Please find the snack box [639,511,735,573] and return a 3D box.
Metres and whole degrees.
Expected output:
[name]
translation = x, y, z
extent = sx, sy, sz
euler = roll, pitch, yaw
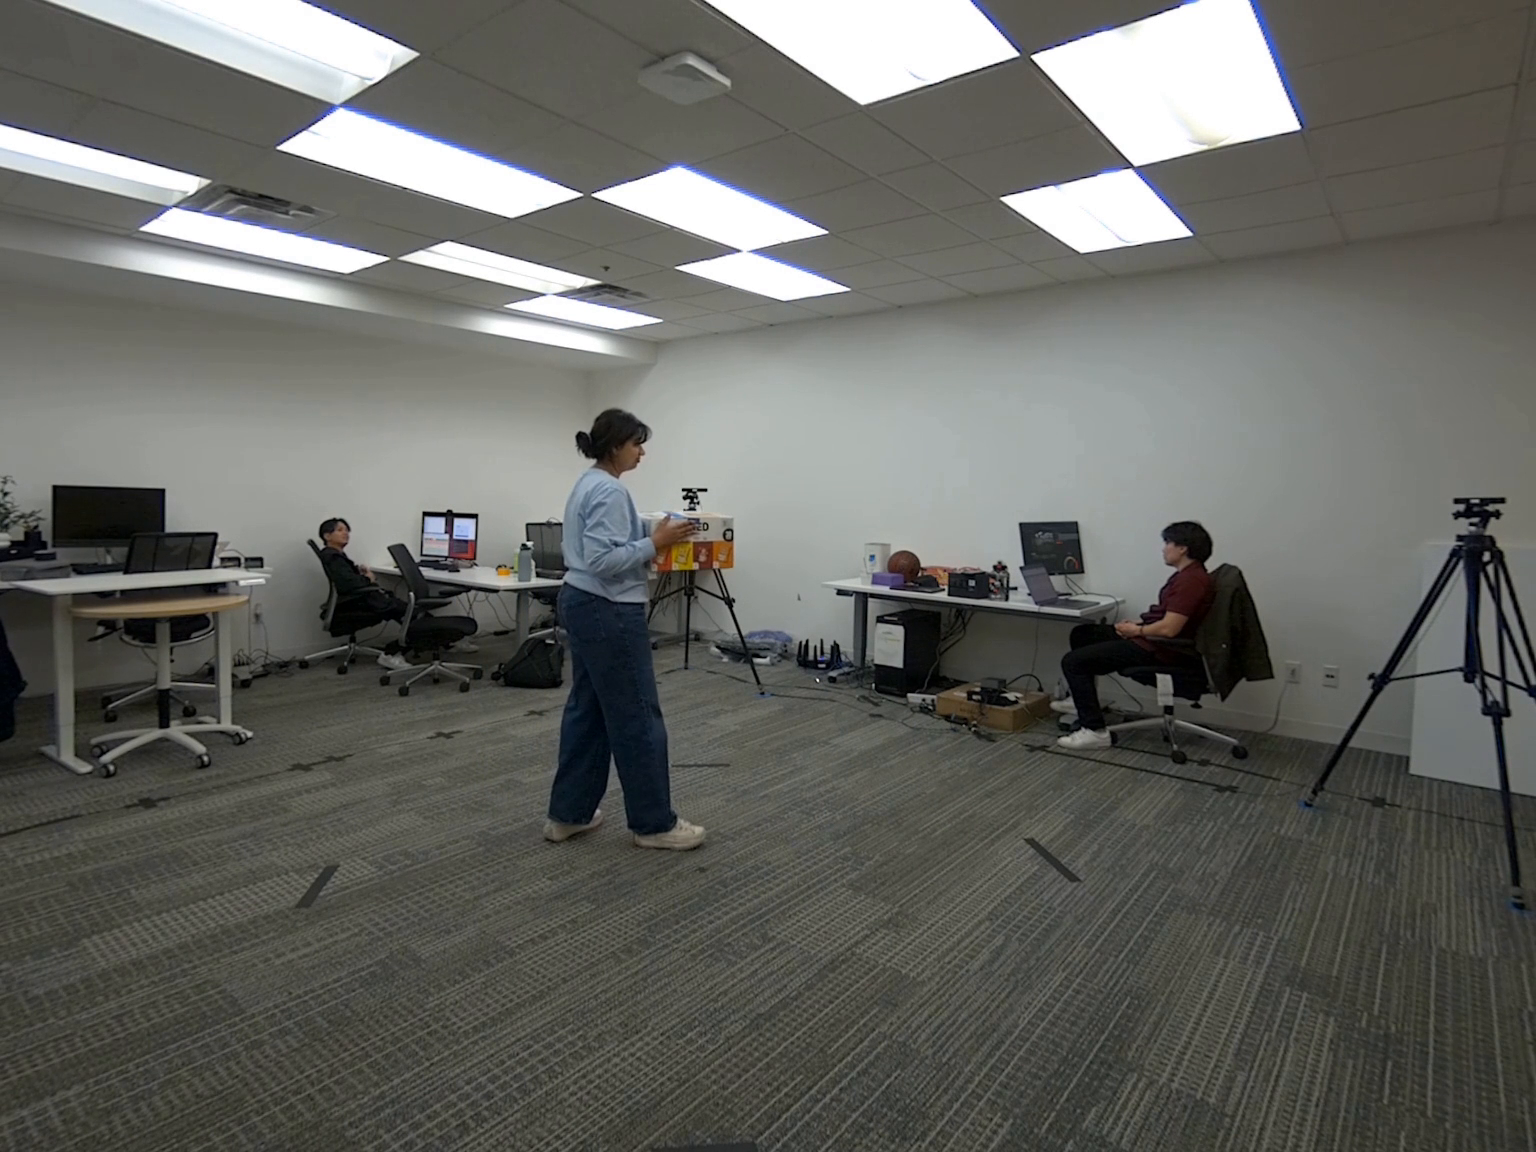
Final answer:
[snack box]
translation = -0.376, -0.154, 3.493
extent = 0.334, 0.204, 0.415
euler = -2, 8, -19
